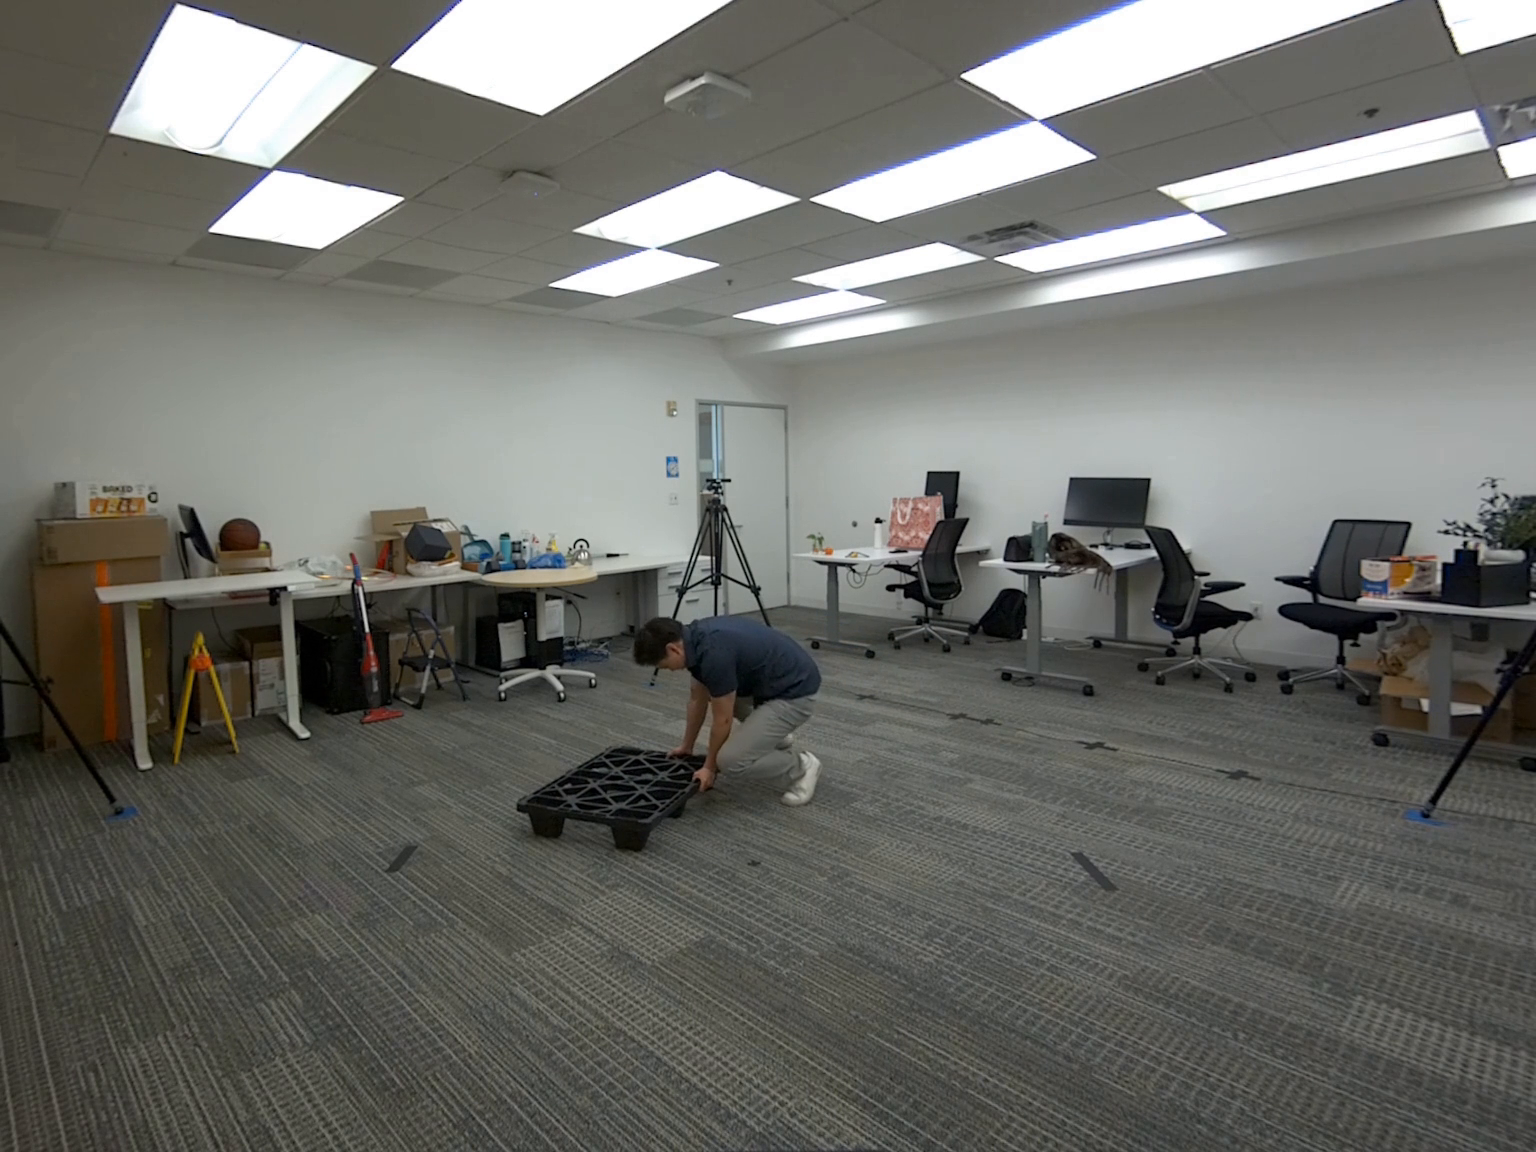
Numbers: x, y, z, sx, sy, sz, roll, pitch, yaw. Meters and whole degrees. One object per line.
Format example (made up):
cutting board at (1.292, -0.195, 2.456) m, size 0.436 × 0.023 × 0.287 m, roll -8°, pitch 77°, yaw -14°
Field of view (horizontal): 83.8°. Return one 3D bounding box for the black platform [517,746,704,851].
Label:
black platform at (-0.592, 0.929, 3.631) m, size 0.617 × 0.143 × 0.793 m, roll 0°, pitch 6°, yaw 20°
